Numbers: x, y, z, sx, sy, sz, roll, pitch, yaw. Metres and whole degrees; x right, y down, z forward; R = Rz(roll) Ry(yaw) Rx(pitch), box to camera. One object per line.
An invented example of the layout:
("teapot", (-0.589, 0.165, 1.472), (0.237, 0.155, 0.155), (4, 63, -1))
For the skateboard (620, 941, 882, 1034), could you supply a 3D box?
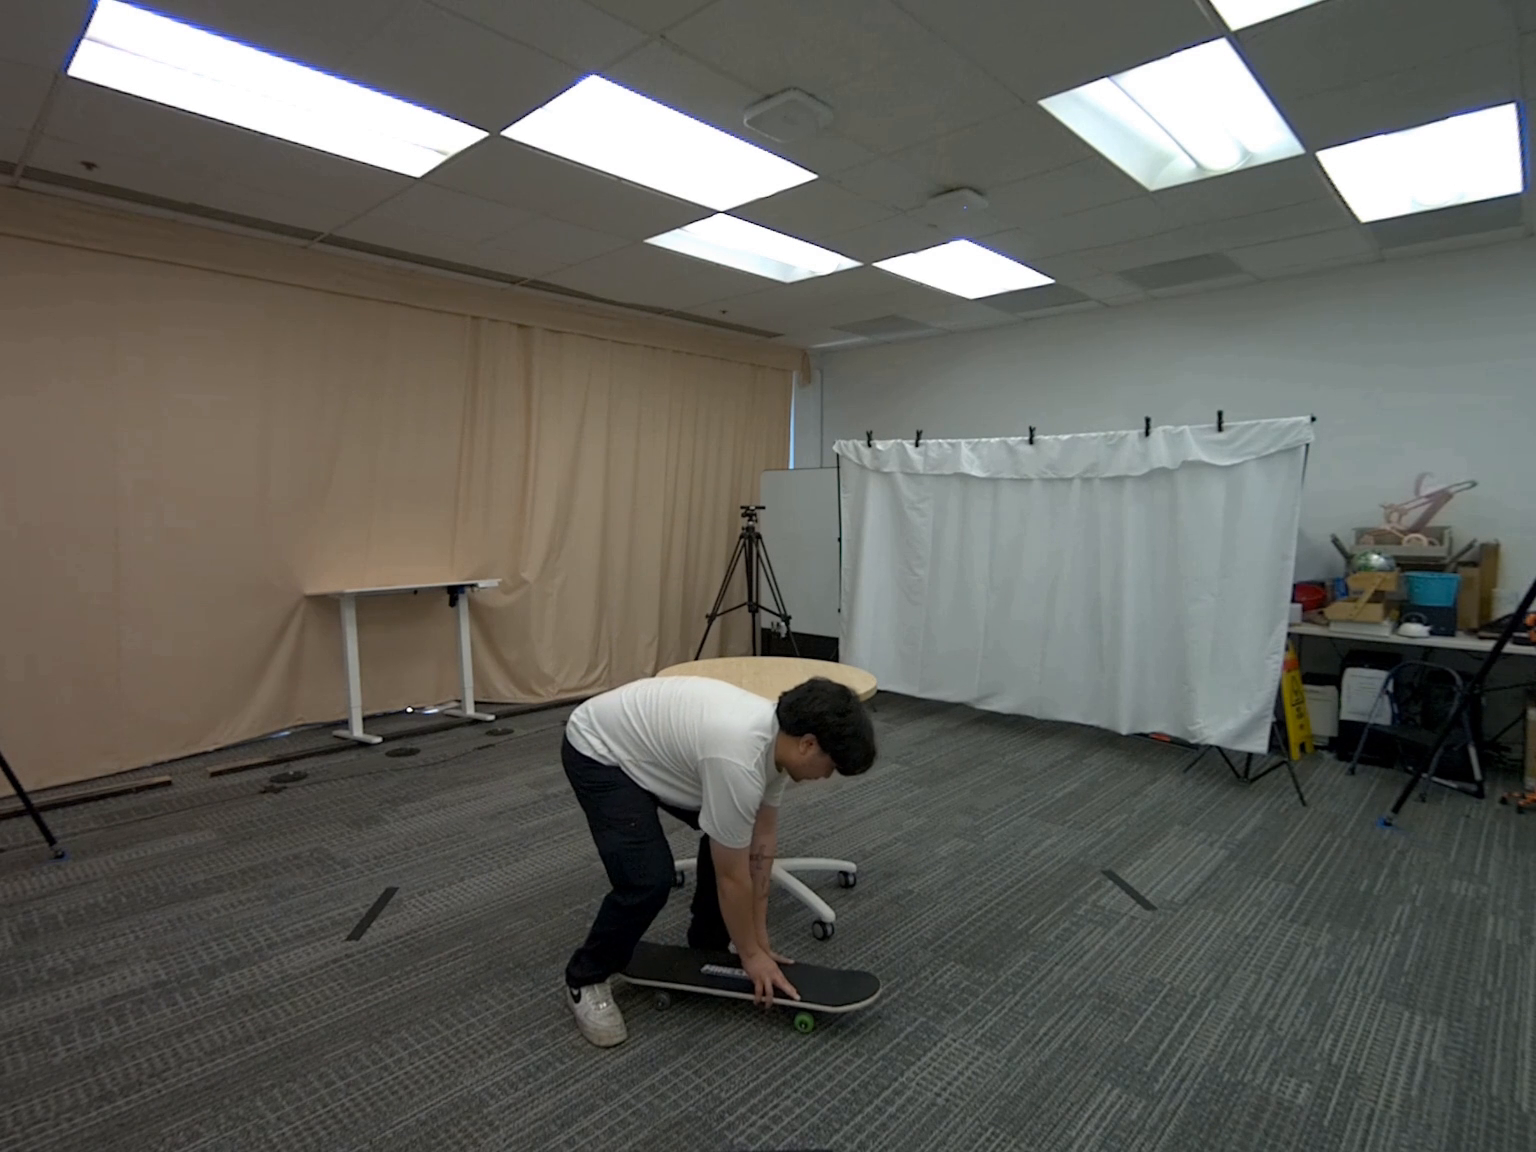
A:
("skateboard", (-0.083, 1.143, 2.350), (0.798, 0.110, 0.191), (1, 5, 14))
